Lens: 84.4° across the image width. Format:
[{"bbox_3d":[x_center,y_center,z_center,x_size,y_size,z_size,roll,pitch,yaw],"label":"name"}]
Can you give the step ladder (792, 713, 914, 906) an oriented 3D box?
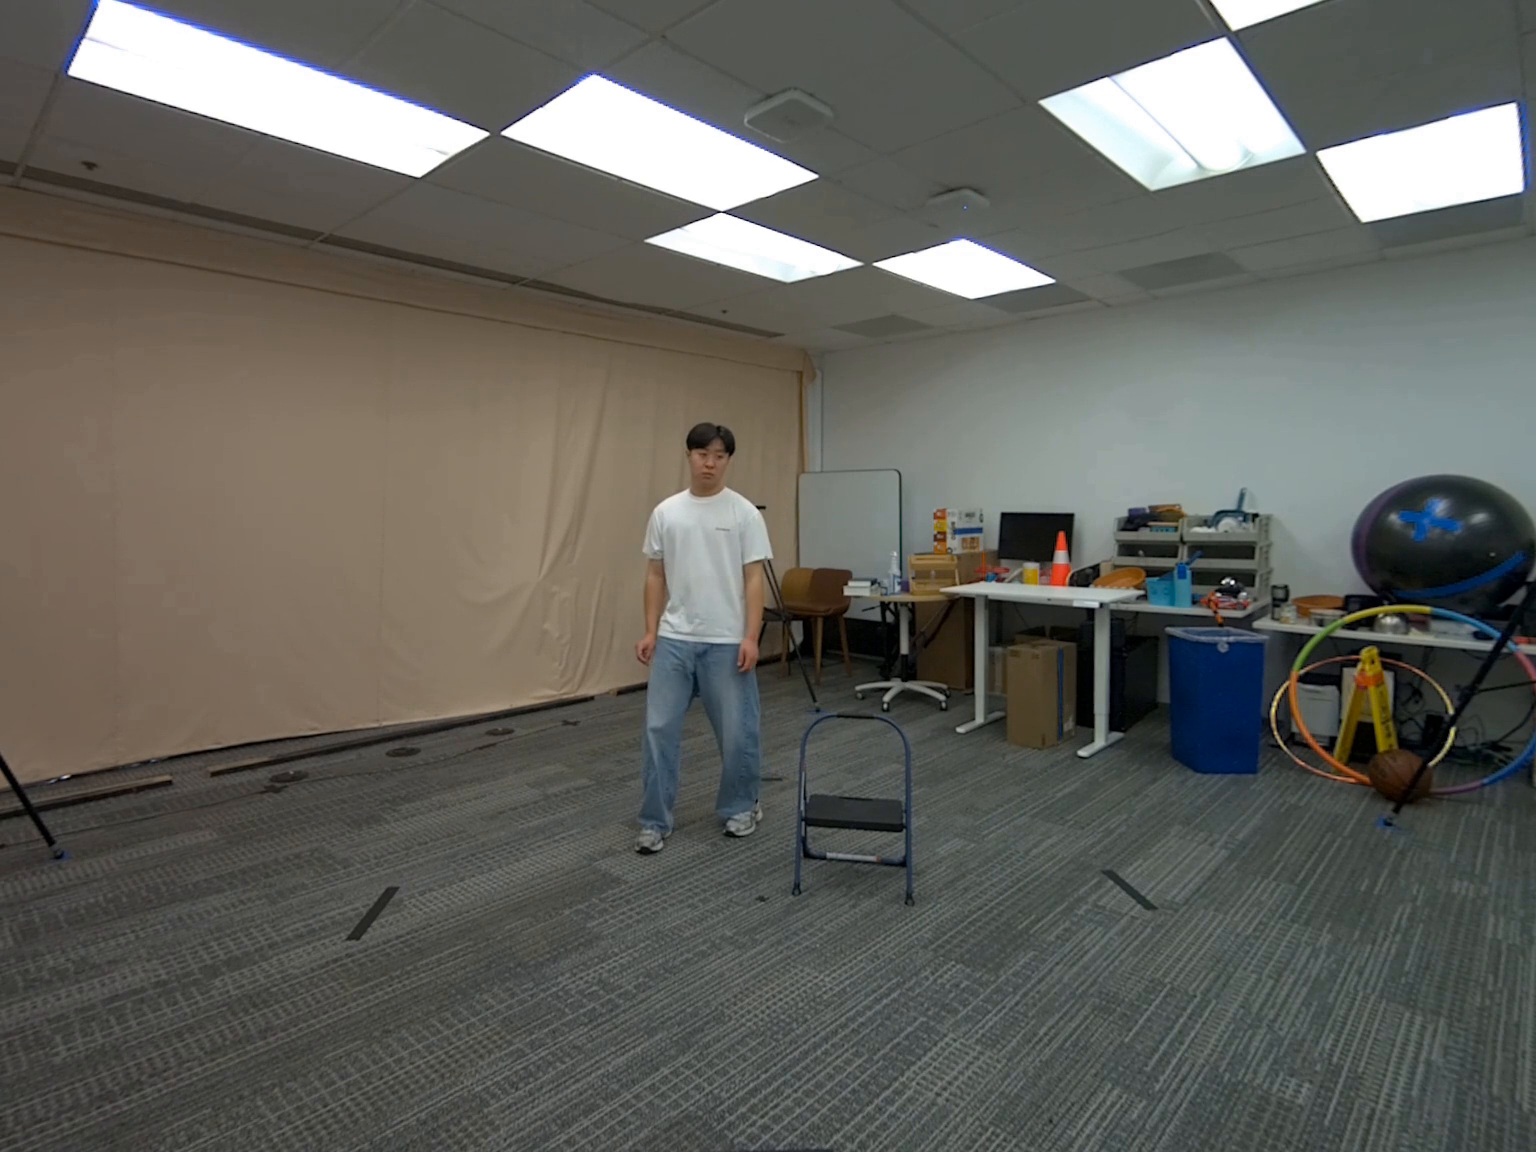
[{"bbox_3d":[0.328,0.827,3.125,0.436,0.605,0.346,1,3,10],"label":"step ladder"}]
